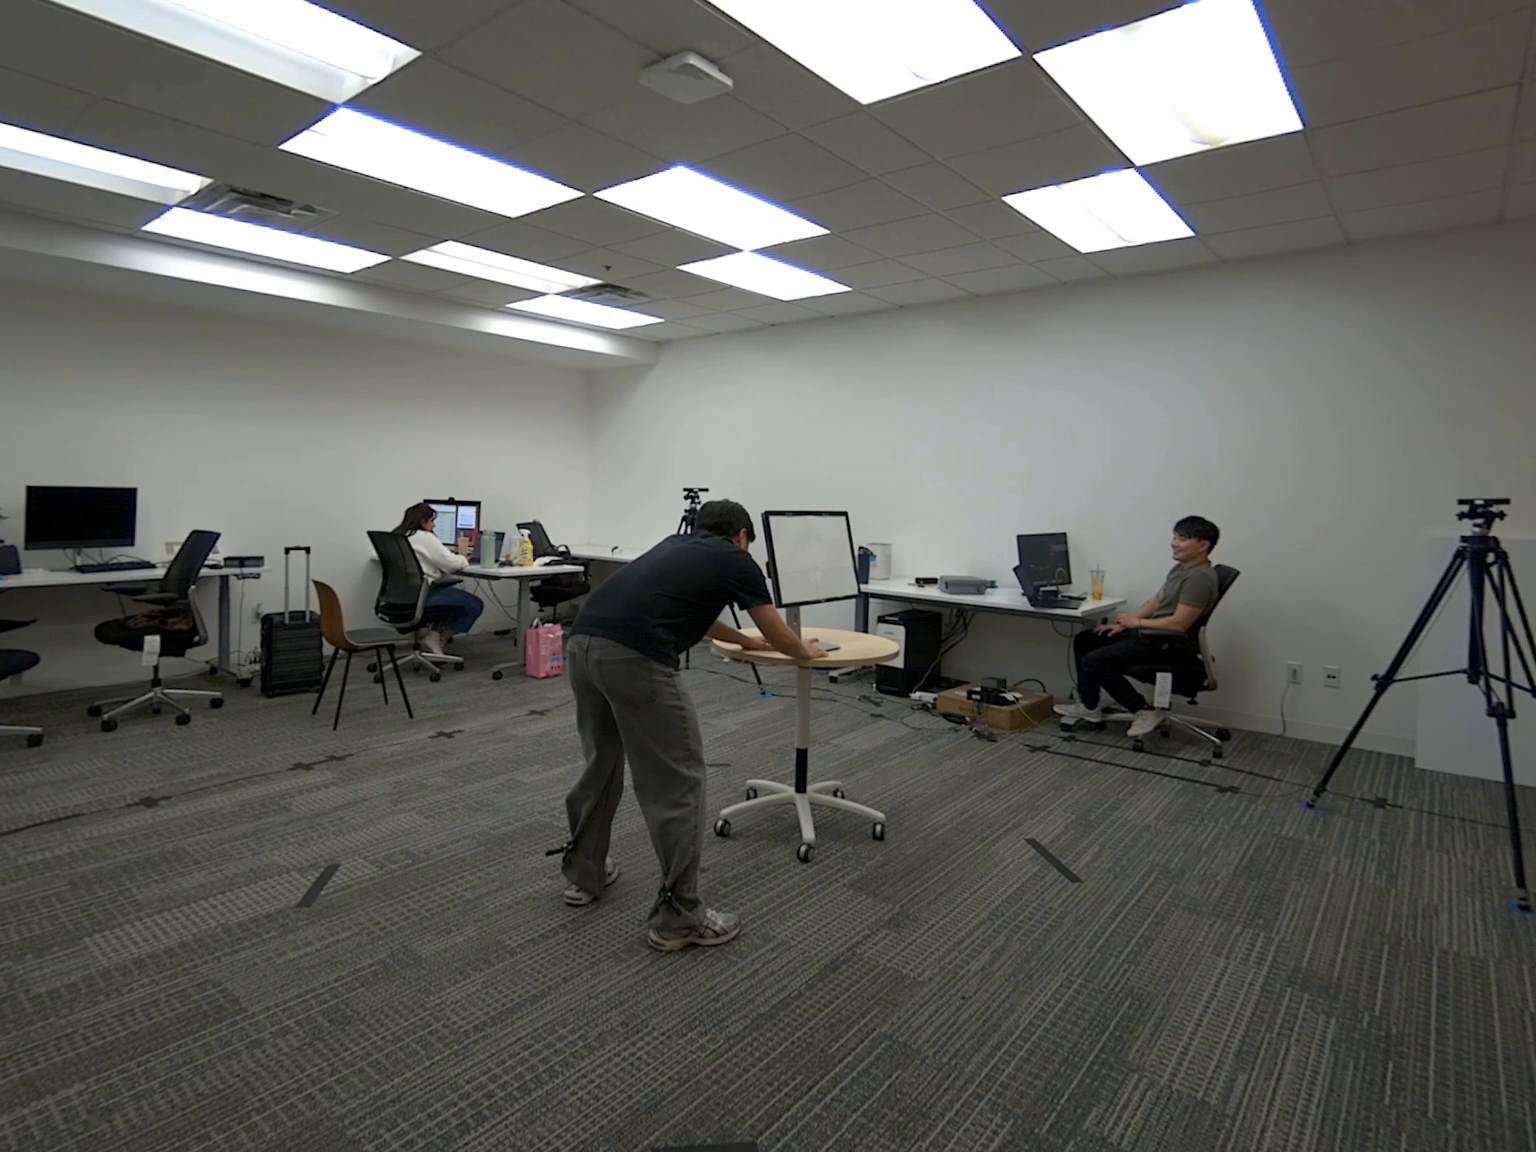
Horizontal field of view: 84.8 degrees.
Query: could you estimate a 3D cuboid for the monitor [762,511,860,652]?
[{"bbox_3d":[0.120,0.015,3.365,0.216,0.555,0.549,-5,-1,39],"label":"monitor"}]
